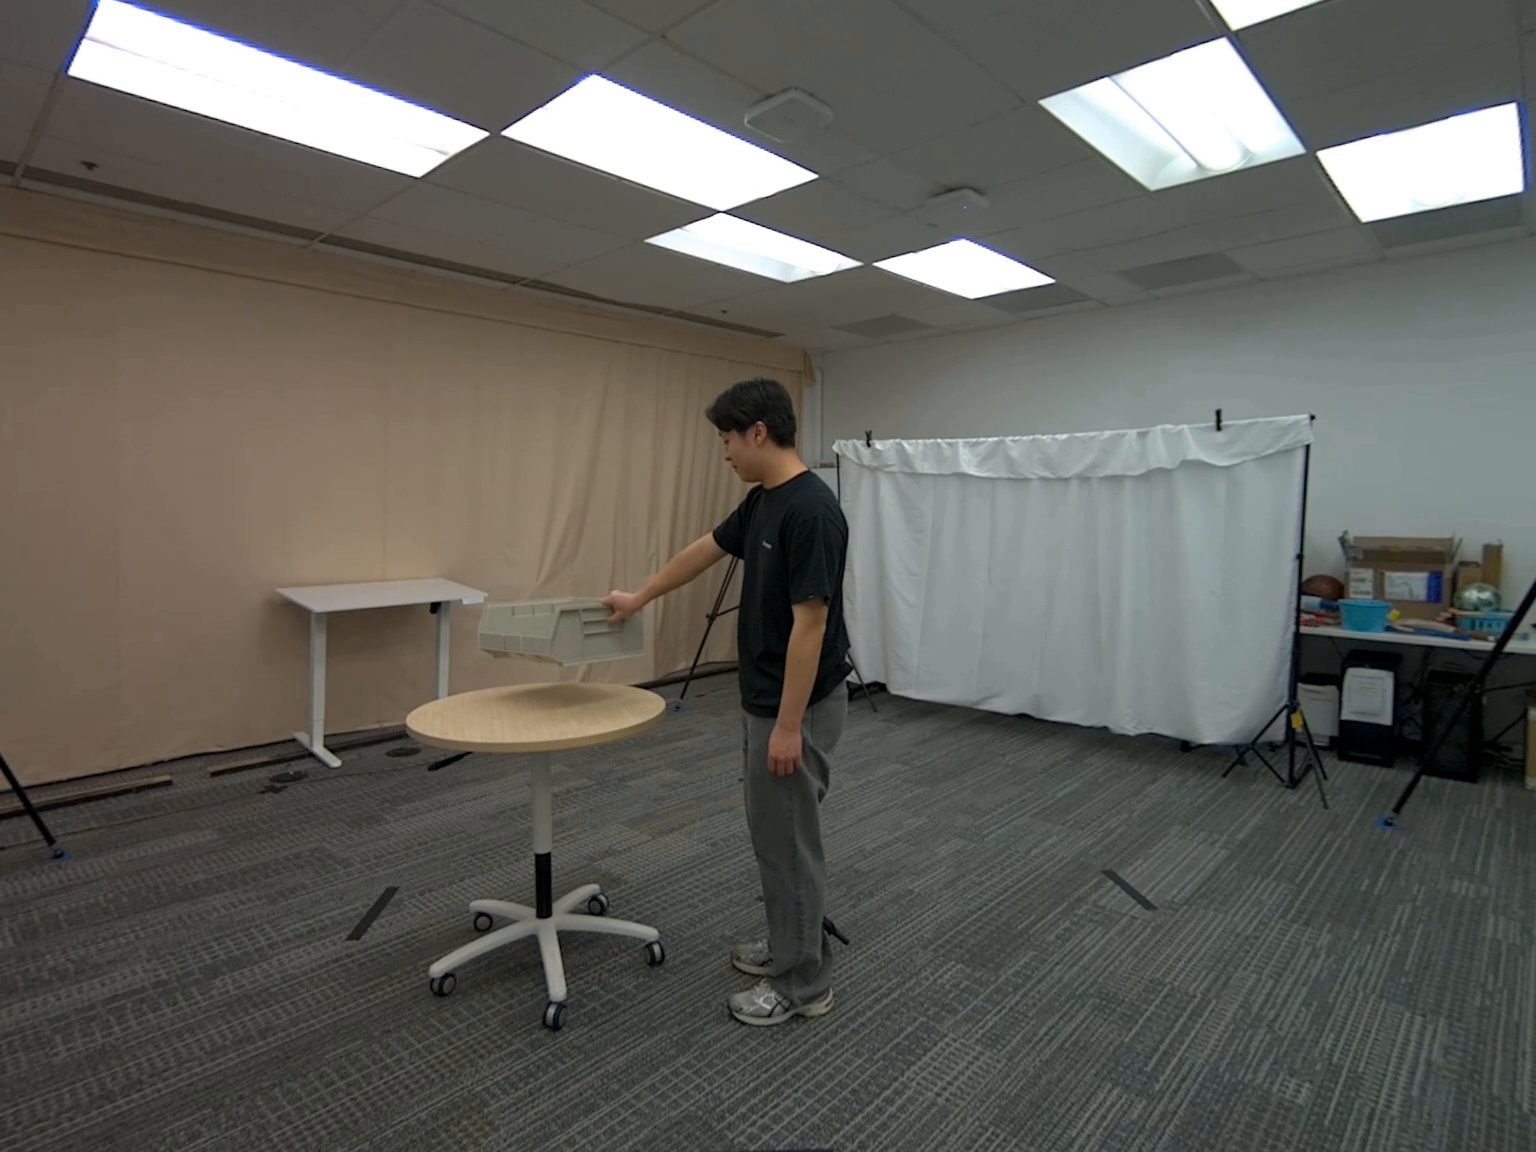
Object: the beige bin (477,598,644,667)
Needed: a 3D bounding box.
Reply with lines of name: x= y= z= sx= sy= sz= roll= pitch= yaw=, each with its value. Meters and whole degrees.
beige bin: x=-0.658 y=0.171 z=2.707 sx=0.365 sy=0.189 sz=0.436 roll=-2 pitch=1 yaw=-44
